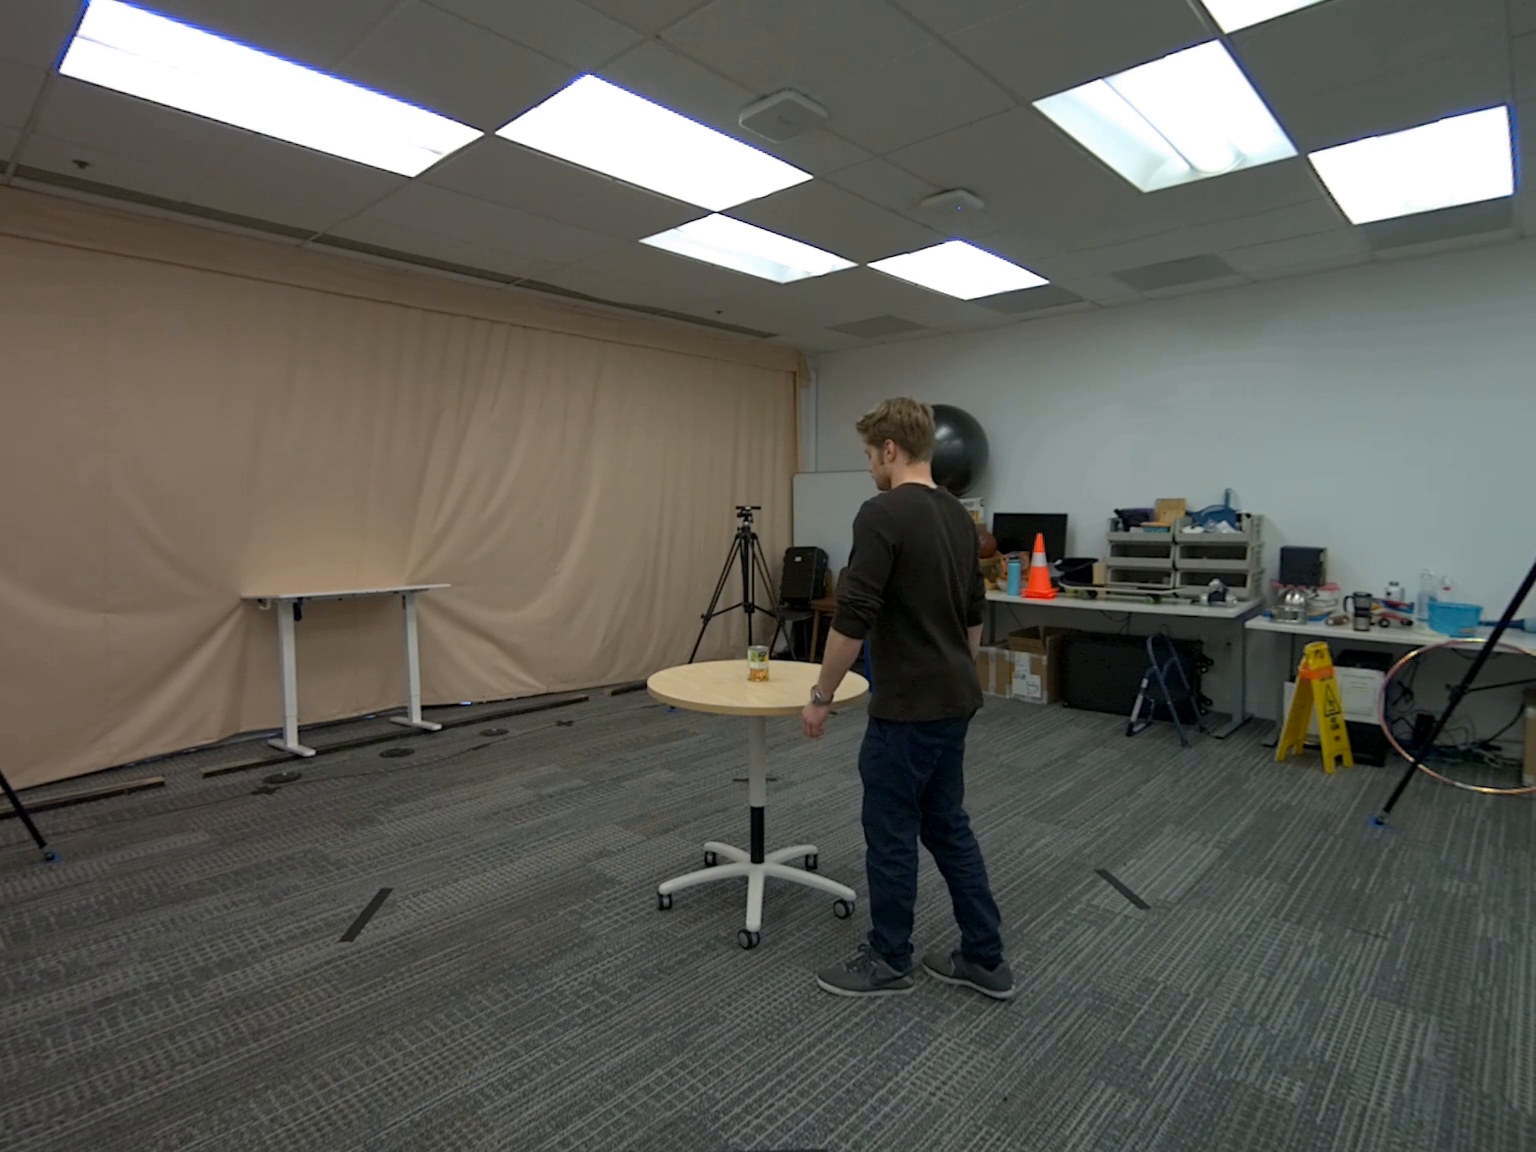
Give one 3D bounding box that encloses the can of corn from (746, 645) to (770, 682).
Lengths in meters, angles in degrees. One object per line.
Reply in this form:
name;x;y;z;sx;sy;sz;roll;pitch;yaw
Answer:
can of corn;-0.031;0.307;2.946;0.074;0.111;0.074;2;4;-2
